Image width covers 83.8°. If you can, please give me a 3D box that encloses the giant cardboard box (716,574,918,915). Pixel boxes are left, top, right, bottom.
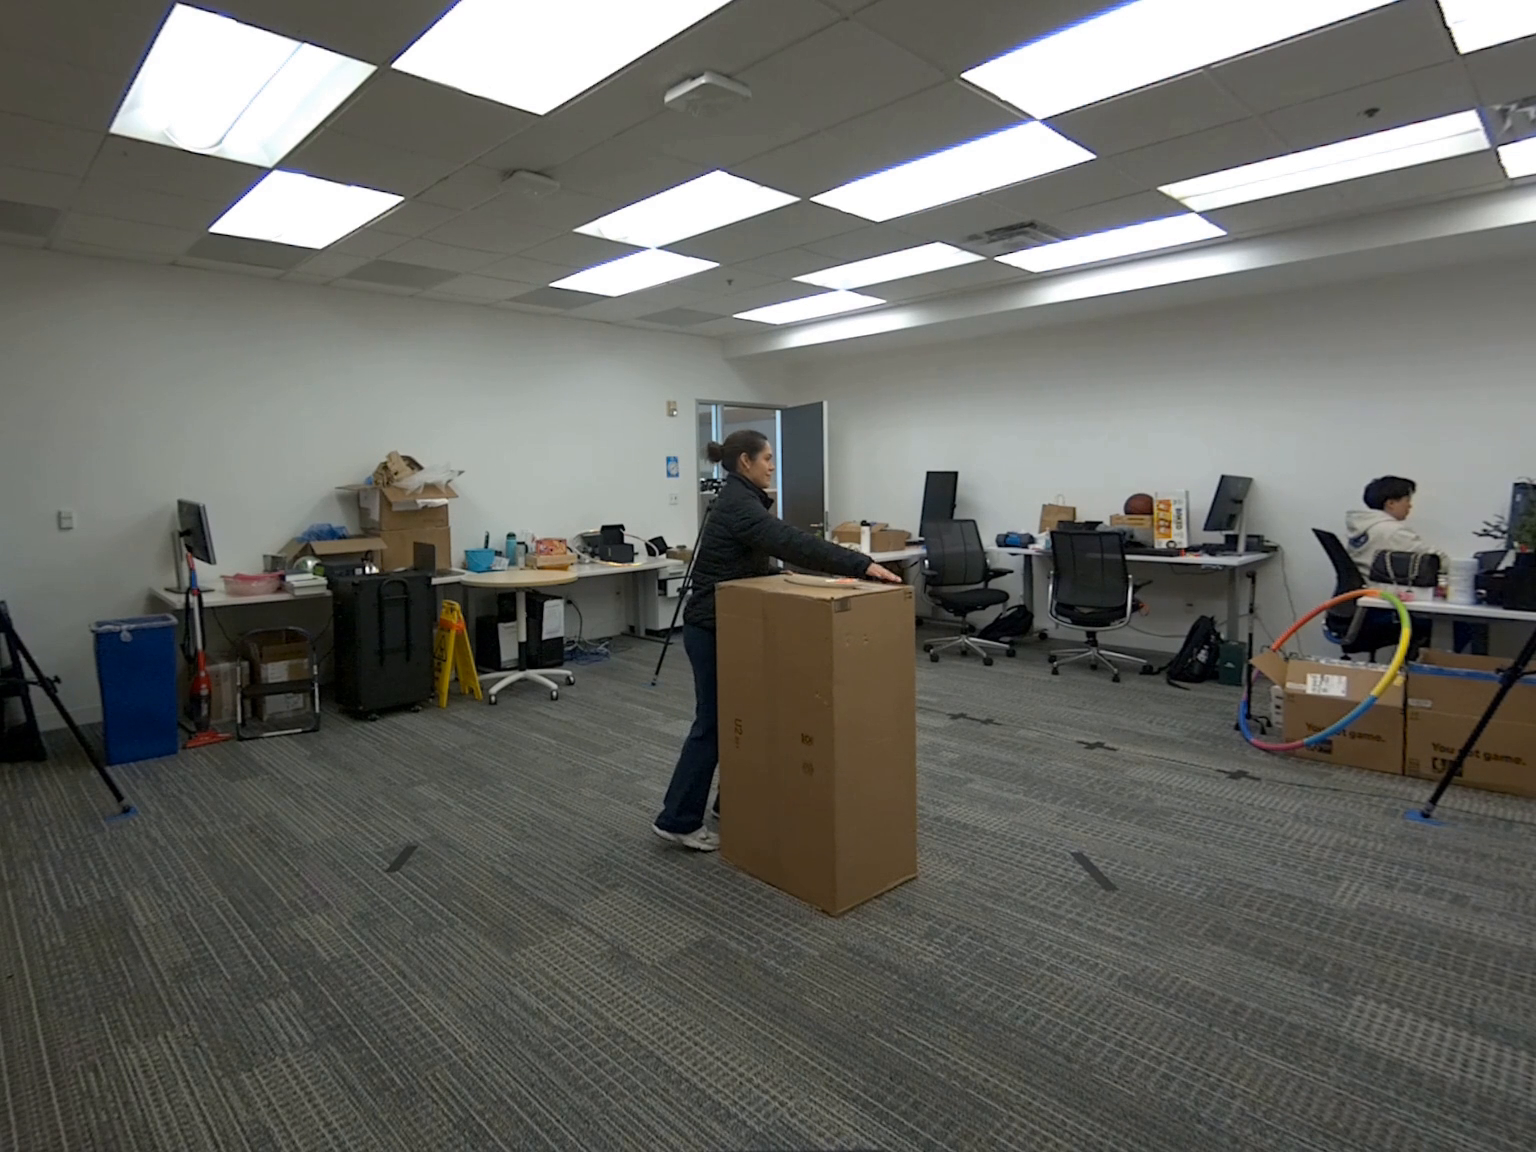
[{"bbox_3d":[0.172,0.538,3.041,0.415,1.022,0.595,-4,5,-42],"label":"giant cardboard box"}]
